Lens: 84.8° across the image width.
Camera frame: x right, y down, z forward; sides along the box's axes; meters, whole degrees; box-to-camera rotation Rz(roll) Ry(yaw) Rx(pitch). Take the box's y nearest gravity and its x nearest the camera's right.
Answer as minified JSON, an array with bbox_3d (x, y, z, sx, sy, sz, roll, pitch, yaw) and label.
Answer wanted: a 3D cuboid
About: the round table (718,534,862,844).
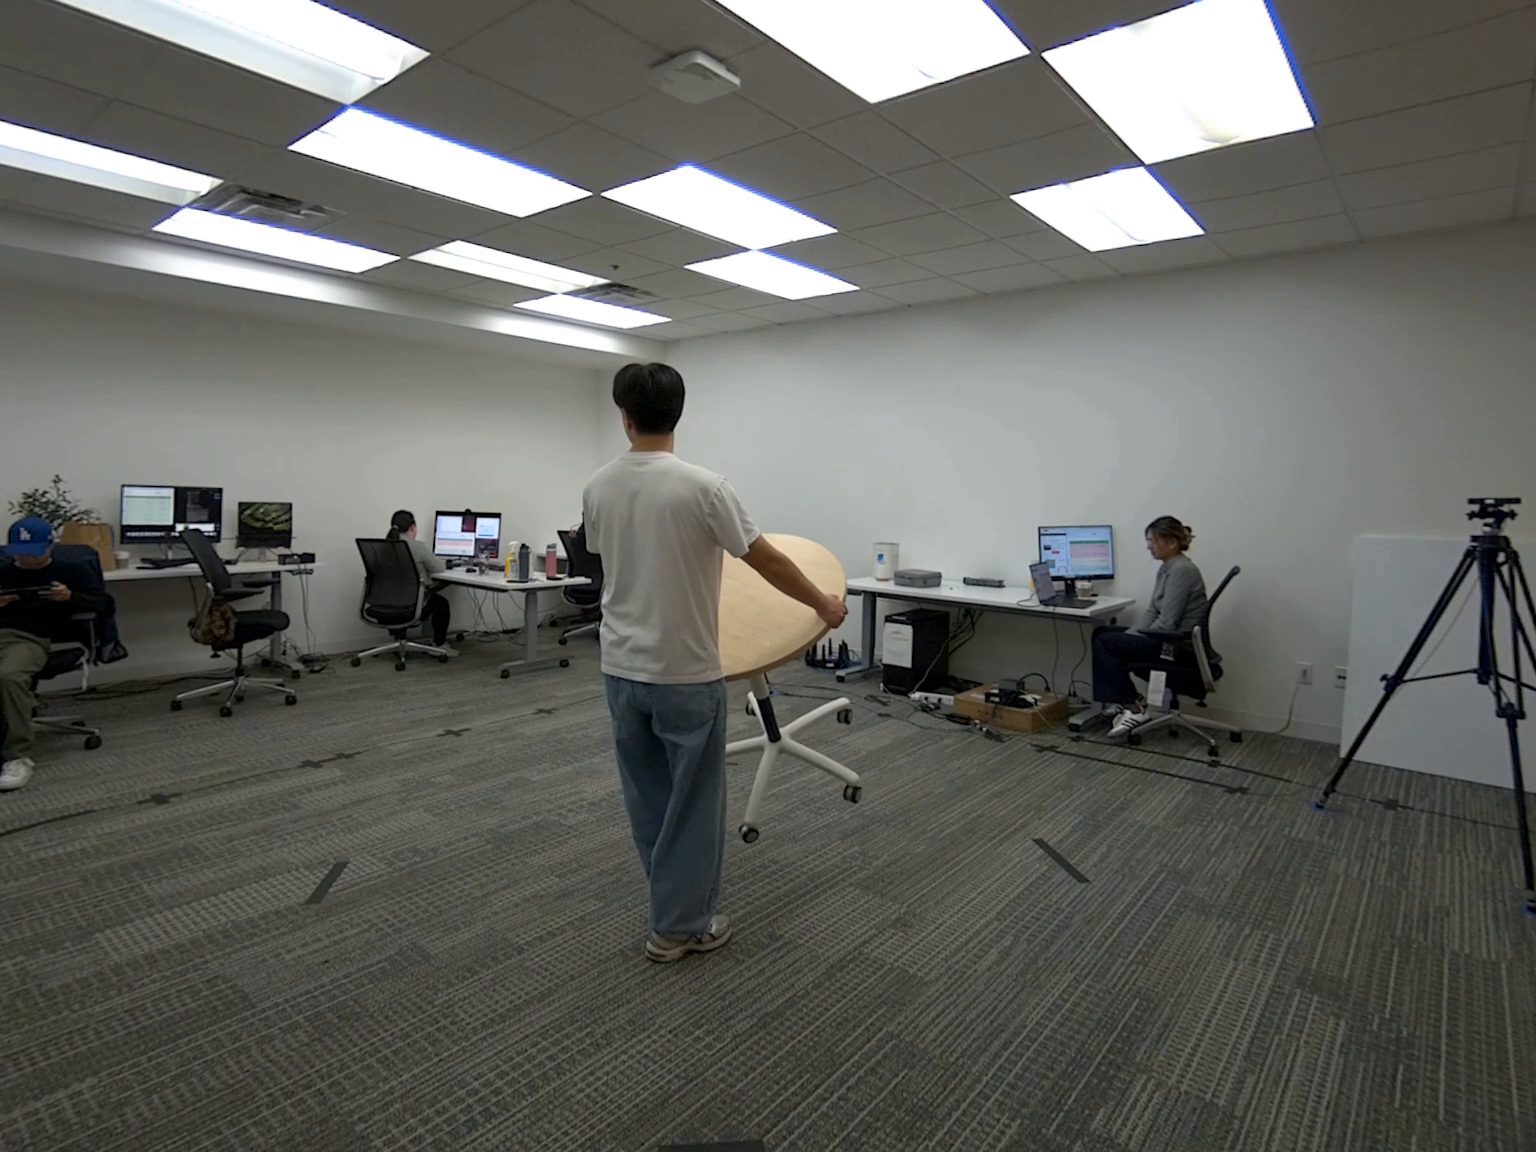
[{"bbox_3d":[-0.045,0.397,3.054,0.768,0.769,0.784,-12,32,6],"label":"round table"}]
